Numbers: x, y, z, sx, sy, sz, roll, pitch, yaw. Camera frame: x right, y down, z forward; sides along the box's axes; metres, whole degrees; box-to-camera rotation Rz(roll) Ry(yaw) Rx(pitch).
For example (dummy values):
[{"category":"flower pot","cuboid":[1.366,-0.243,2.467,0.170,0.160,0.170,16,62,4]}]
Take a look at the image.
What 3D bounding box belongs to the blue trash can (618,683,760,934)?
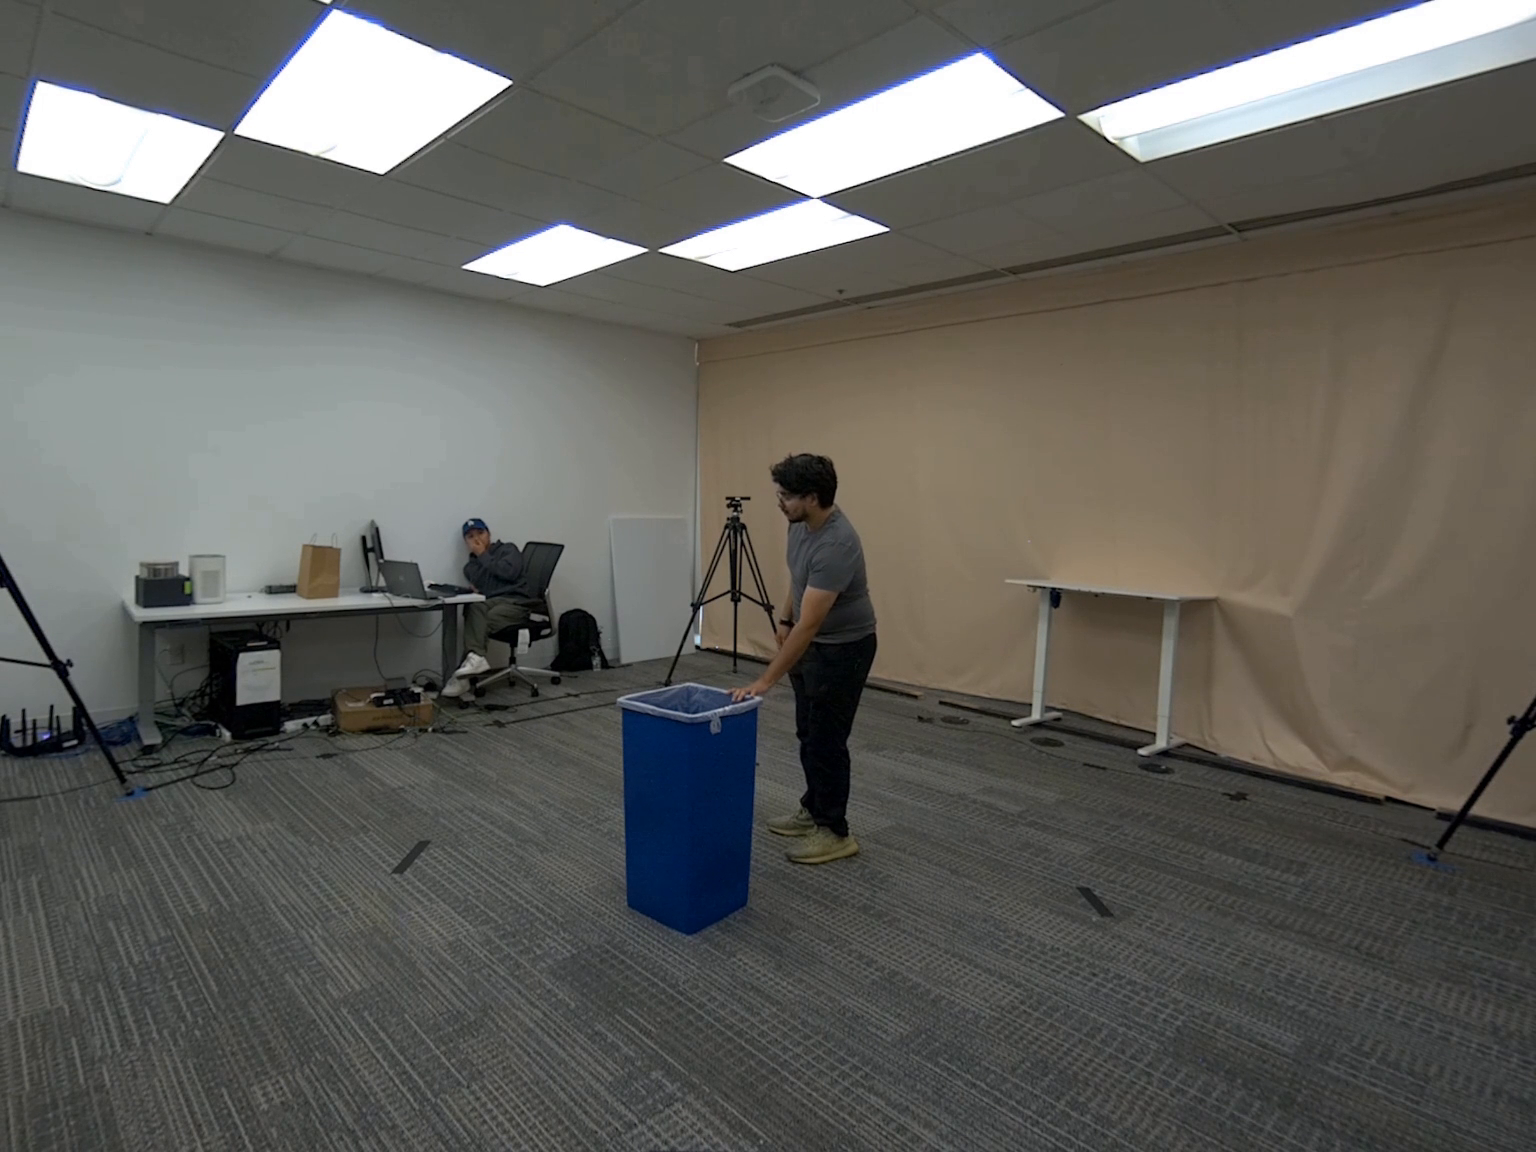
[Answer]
[{"category":"blue trash can","cuboid":[-0.281,0.768,2.861,0.383,0.712,0.369,4,4,39]}]
